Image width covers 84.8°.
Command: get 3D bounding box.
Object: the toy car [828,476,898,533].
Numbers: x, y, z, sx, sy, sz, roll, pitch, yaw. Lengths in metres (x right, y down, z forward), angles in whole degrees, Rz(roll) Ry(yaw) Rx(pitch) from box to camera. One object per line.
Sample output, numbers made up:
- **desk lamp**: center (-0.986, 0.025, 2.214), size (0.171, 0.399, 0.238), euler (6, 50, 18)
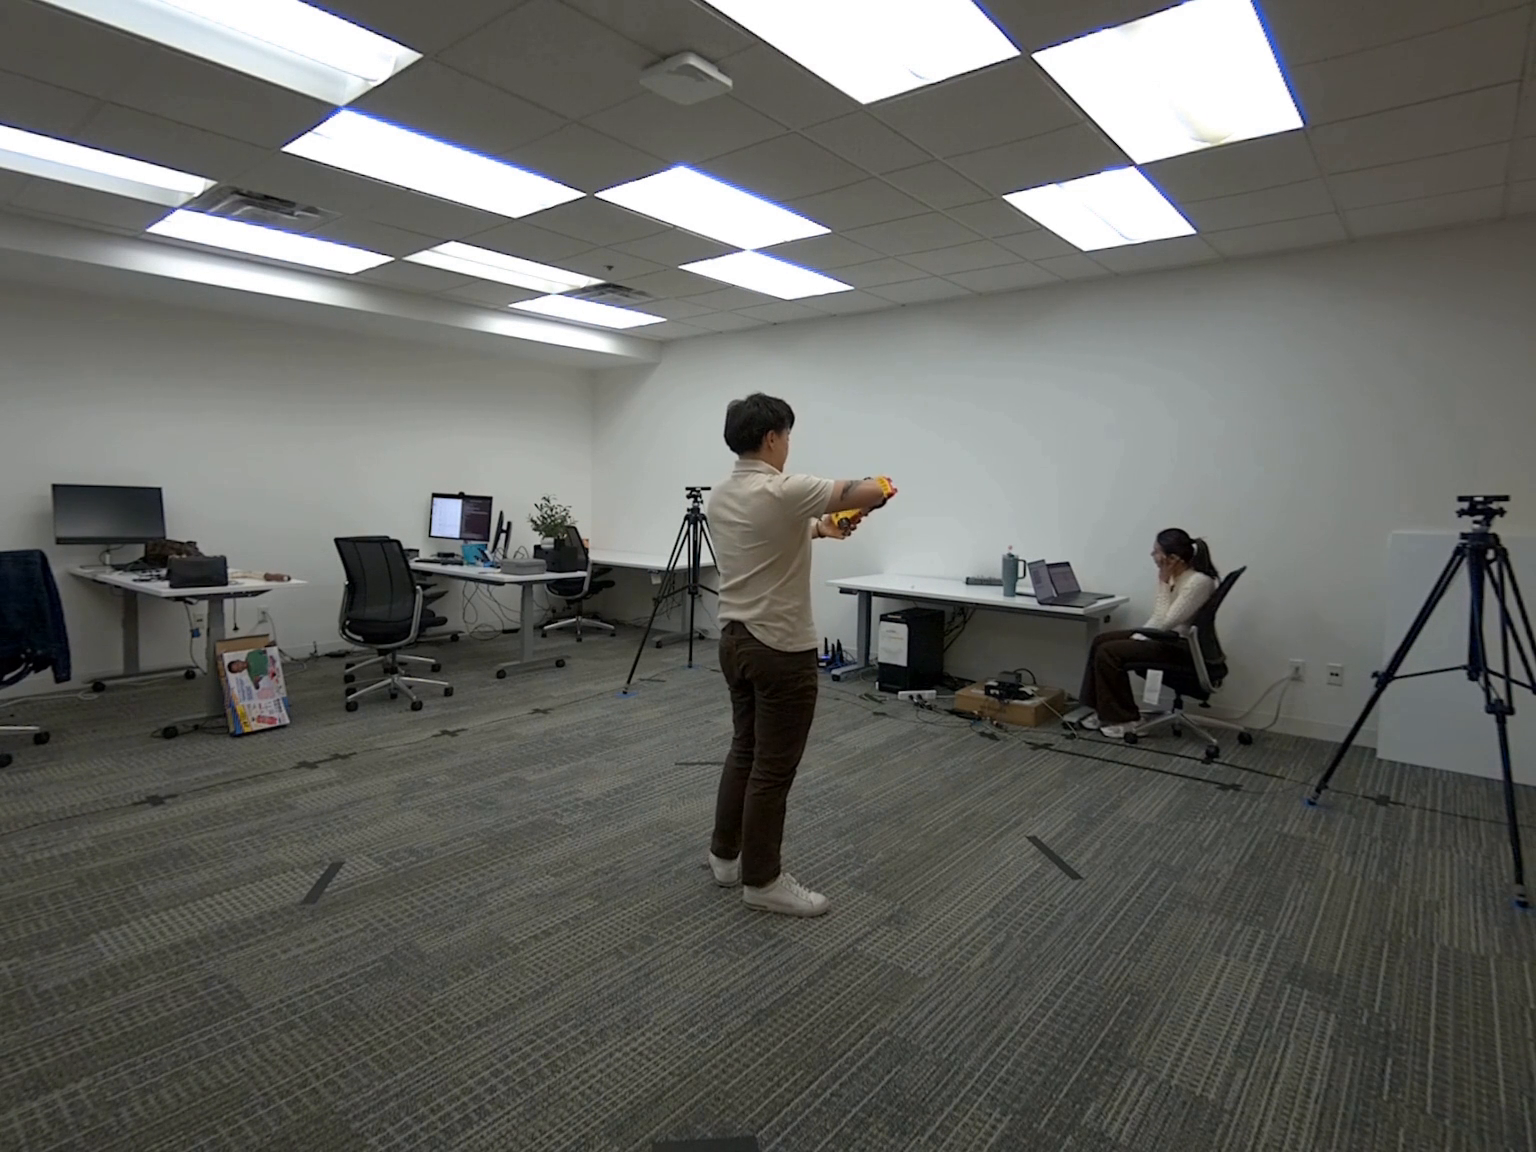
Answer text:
- **toy car**: center (0.332, -0.269, 3.037), size (0.256, 0.135, 0.080), euler (-27, -40, 9)
